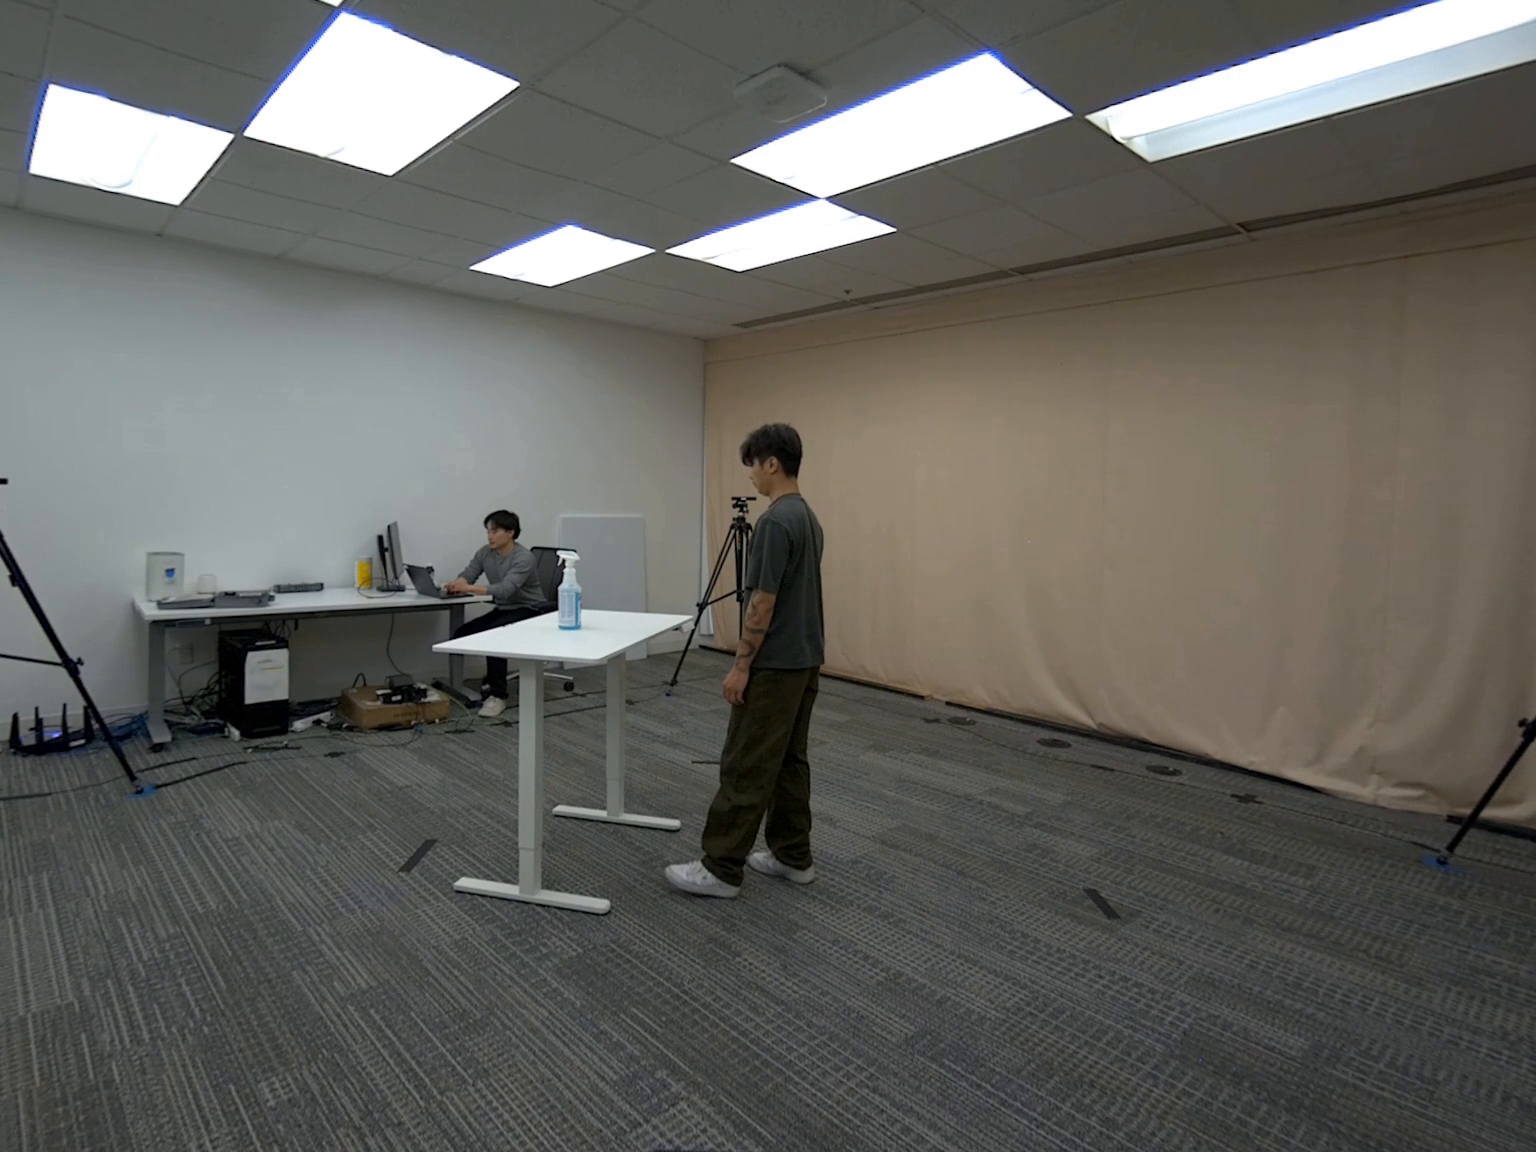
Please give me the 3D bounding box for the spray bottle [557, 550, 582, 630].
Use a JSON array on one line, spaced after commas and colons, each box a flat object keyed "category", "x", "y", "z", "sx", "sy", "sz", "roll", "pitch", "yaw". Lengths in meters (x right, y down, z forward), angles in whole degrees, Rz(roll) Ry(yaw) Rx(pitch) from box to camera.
[{"category": "spray bottle", "x": -0.758, "y": 0.055, "z": 3.211, "sx": 0.092, "sy": 0.296, "sz": 0.085, "roll": 5, "pitch": 8, "yaw": 39}]
